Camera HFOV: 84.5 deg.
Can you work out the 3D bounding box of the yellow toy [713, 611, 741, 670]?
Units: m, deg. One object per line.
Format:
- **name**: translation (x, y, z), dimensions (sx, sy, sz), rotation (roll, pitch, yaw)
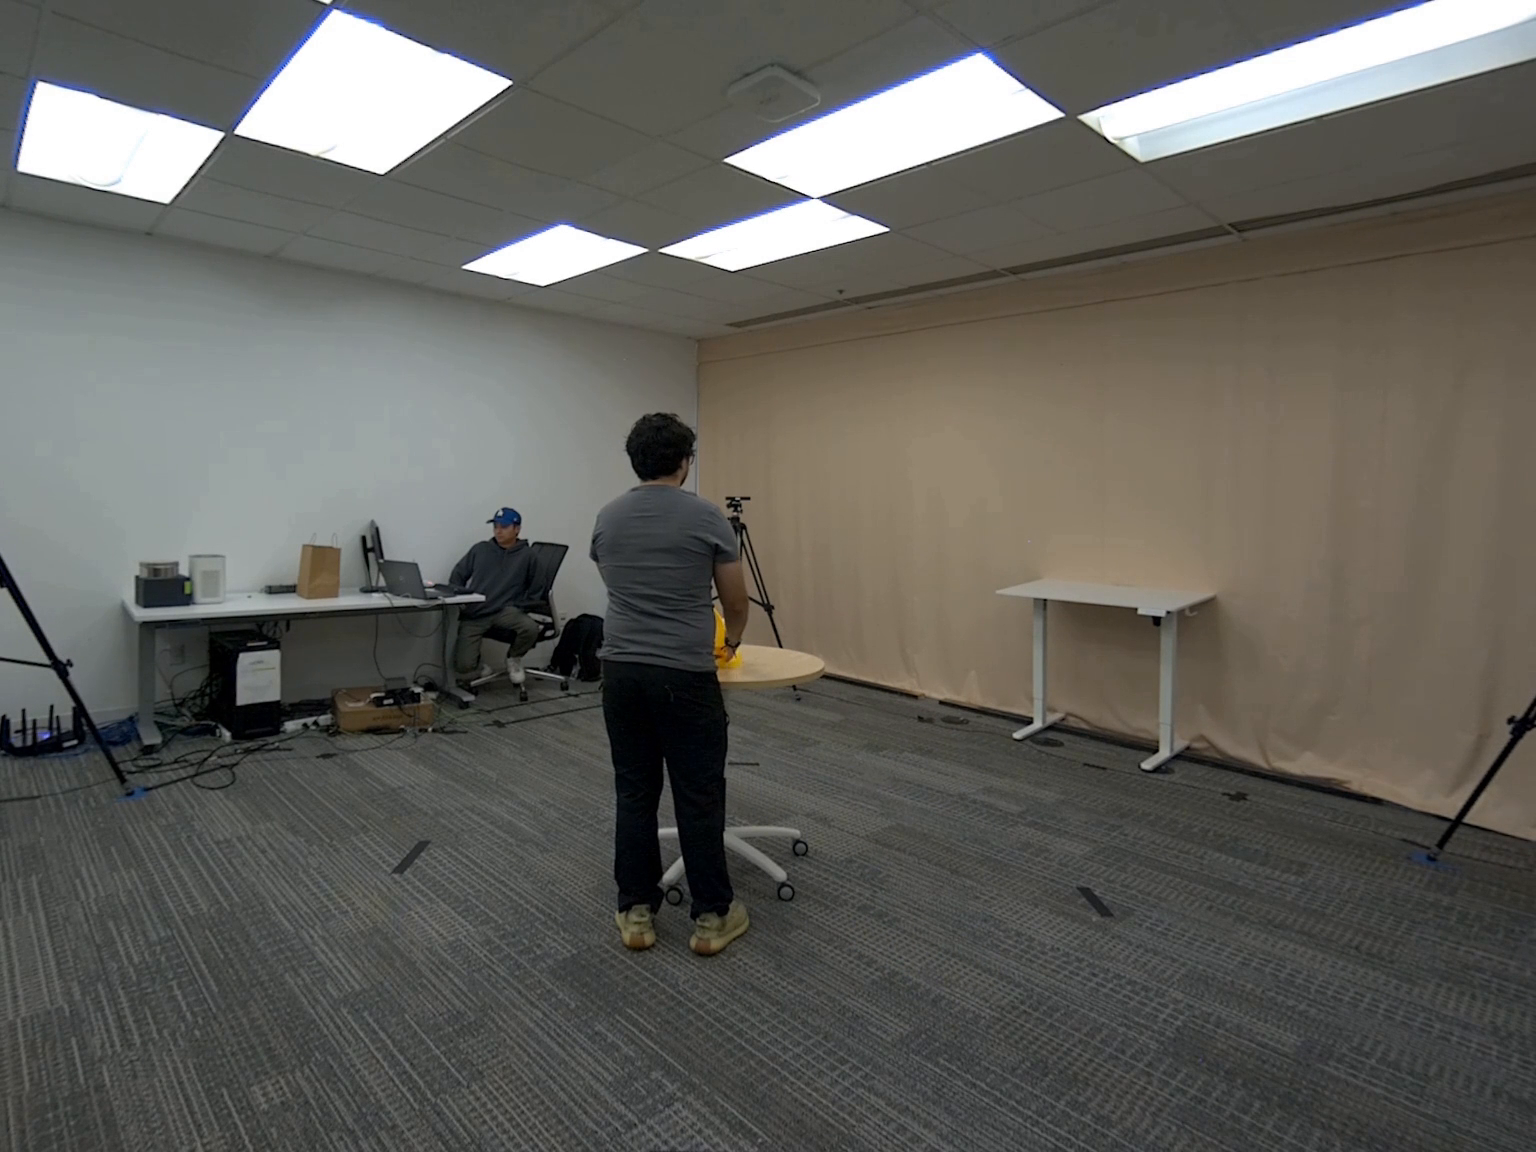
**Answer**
- **yellow toy**: translation (-0.202, 0.206, 3.081), dimensions (0.208, 0.230, 0.190), rotation (3, 3, 20)
